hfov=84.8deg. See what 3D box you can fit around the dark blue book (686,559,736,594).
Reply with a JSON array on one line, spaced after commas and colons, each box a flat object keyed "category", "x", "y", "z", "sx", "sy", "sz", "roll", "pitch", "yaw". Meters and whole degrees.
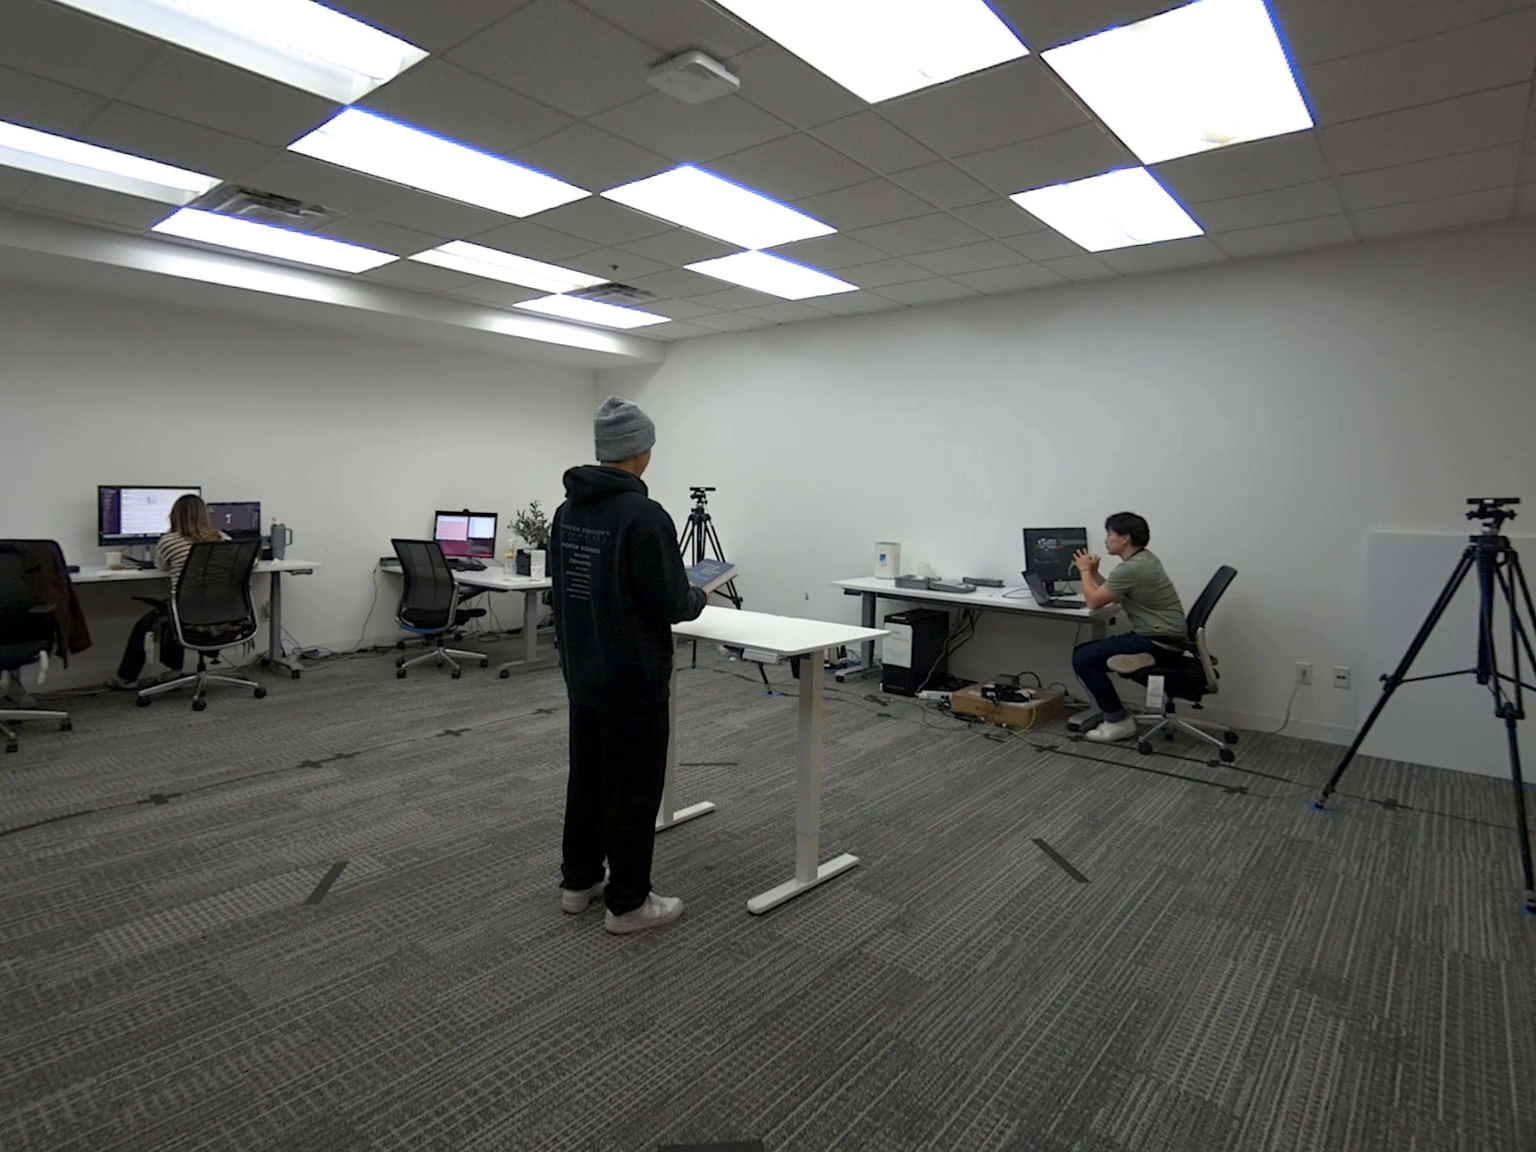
[{"category": "dark blue book", "x": -0.249, "y": 0.016, "z": 2.990, "sx": 0.169, "sy": 0.044, "sz": 0.242, "roll": 11, "pitch": 34, "yaw": 45}]
